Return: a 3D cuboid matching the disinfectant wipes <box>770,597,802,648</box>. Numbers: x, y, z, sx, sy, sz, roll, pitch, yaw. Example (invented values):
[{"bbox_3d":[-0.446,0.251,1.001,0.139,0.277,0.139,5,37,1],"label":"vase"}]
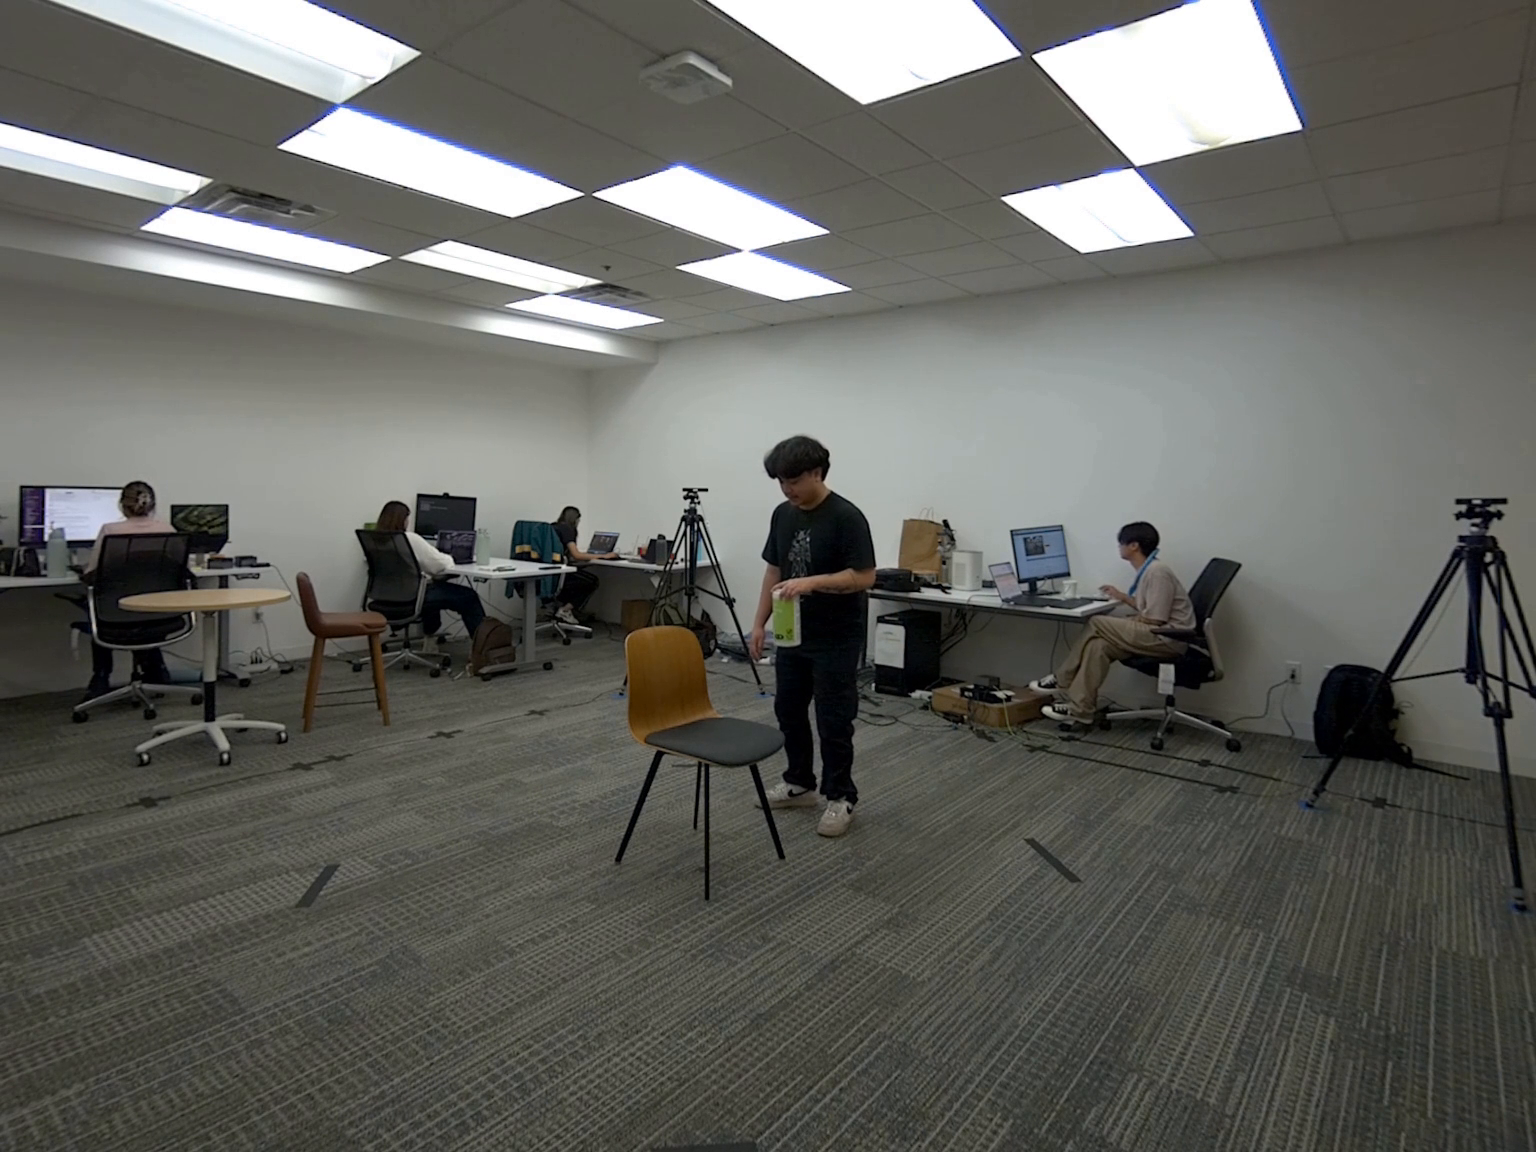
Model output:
[{"bbox_3d":[0.066,0.170,3.366,0.118,0.217,0.118,0,4,-2],"label":"disinfectant wipes"}]
